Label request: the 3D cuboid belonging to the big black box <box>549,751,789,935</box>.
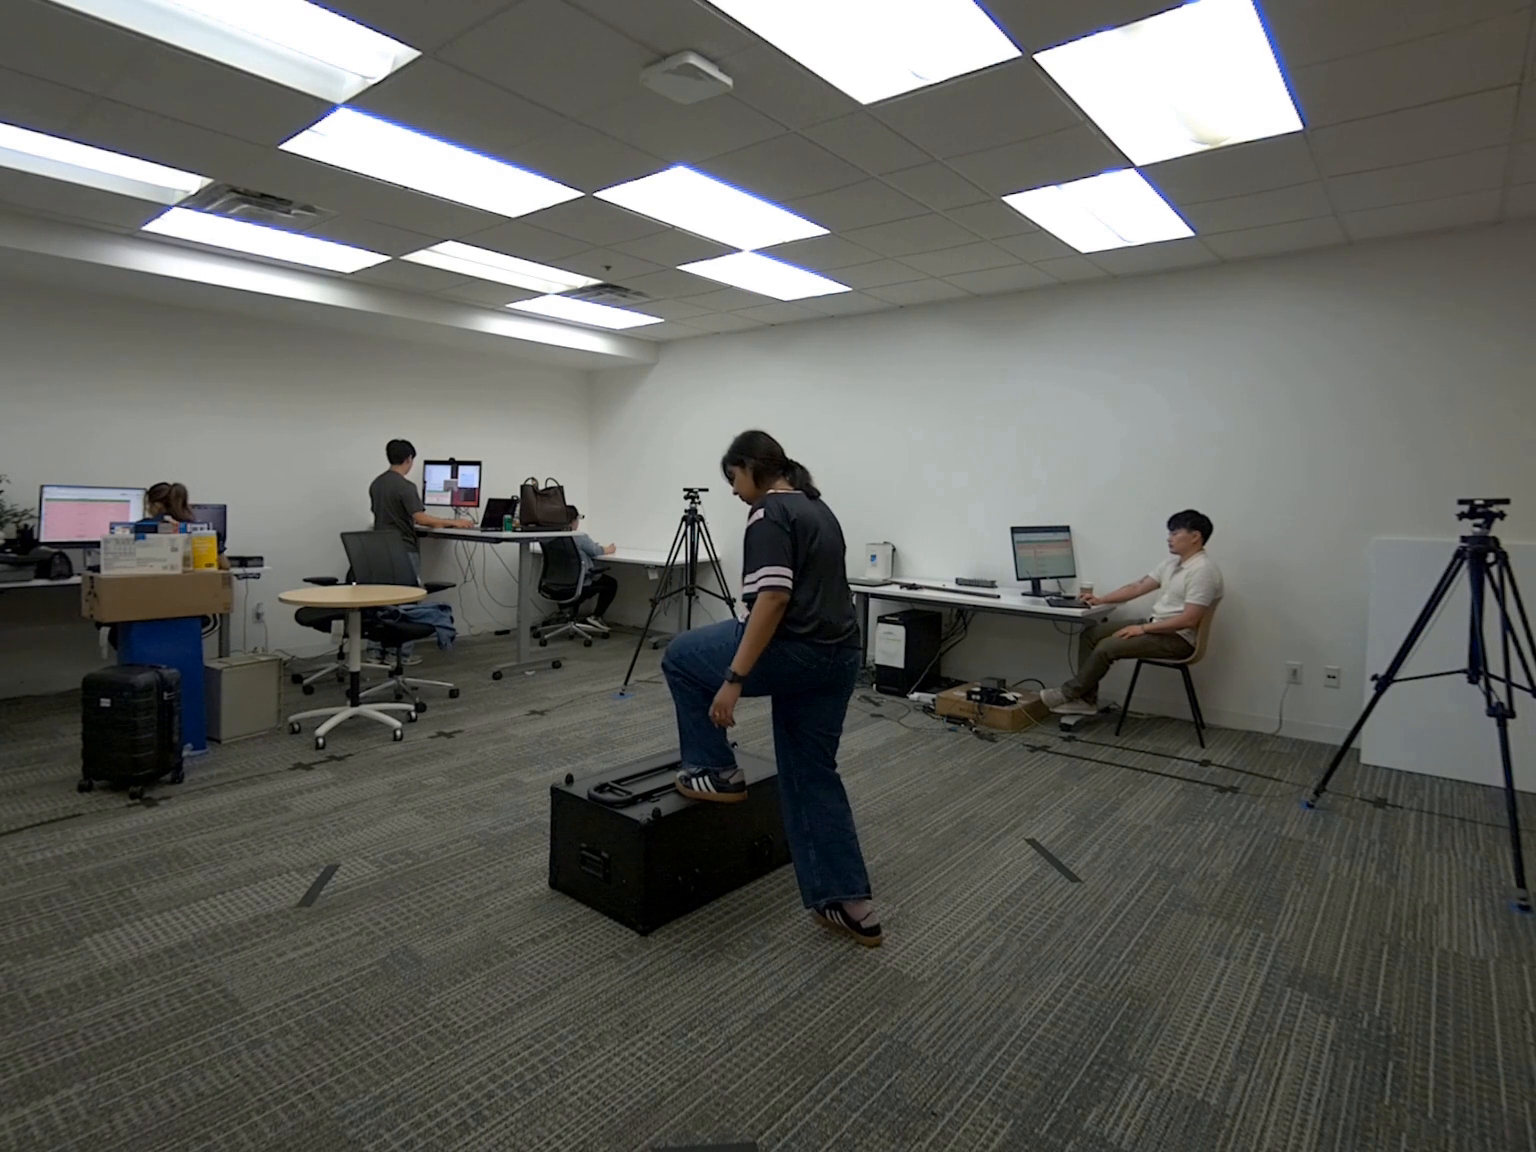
[{"bbox_3d":[-0.319,0.885,3.094,0.541,0.384,0.843,3,5,40],"label":"big black box"}]
